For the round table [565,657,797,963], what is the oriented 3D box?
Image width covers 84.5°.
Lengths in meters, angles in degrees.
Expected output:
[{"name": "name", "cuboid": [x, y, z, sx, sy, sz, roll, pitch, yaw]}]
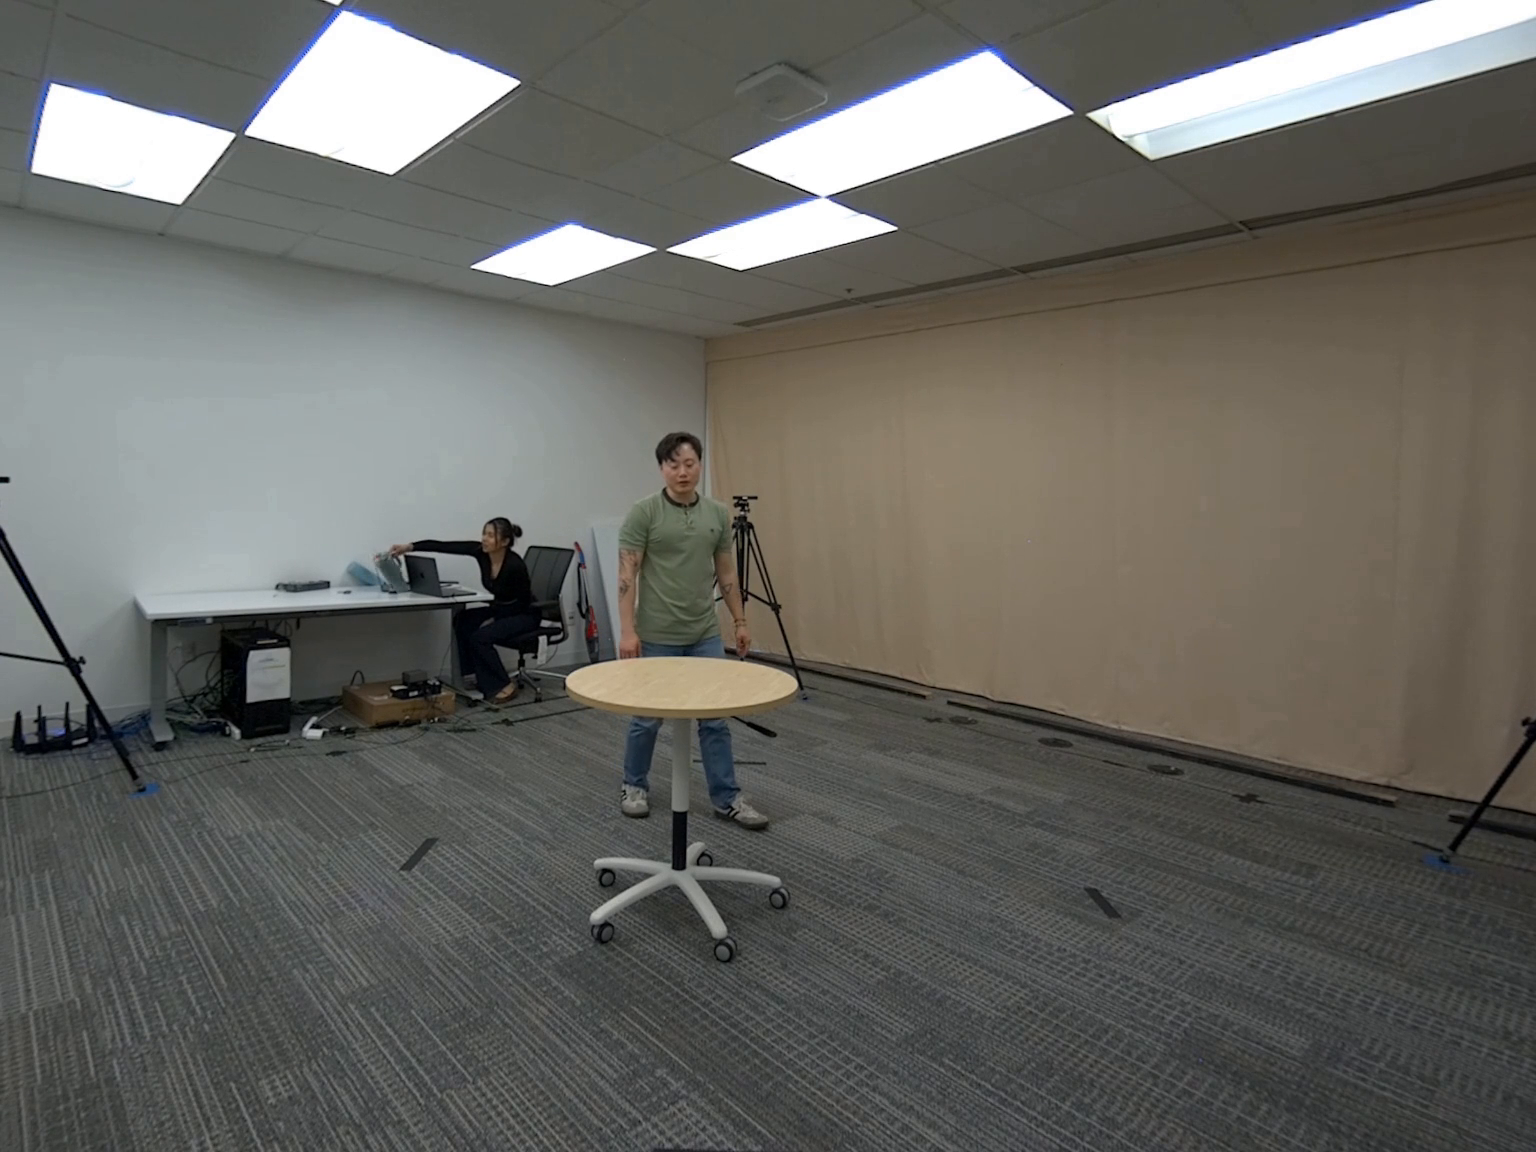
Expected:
[{"name": "round table", "cuboid": [-0.299, 0.739, 2.815, 0.763, 0.792, 0.767, 1, 4, -1]}]
